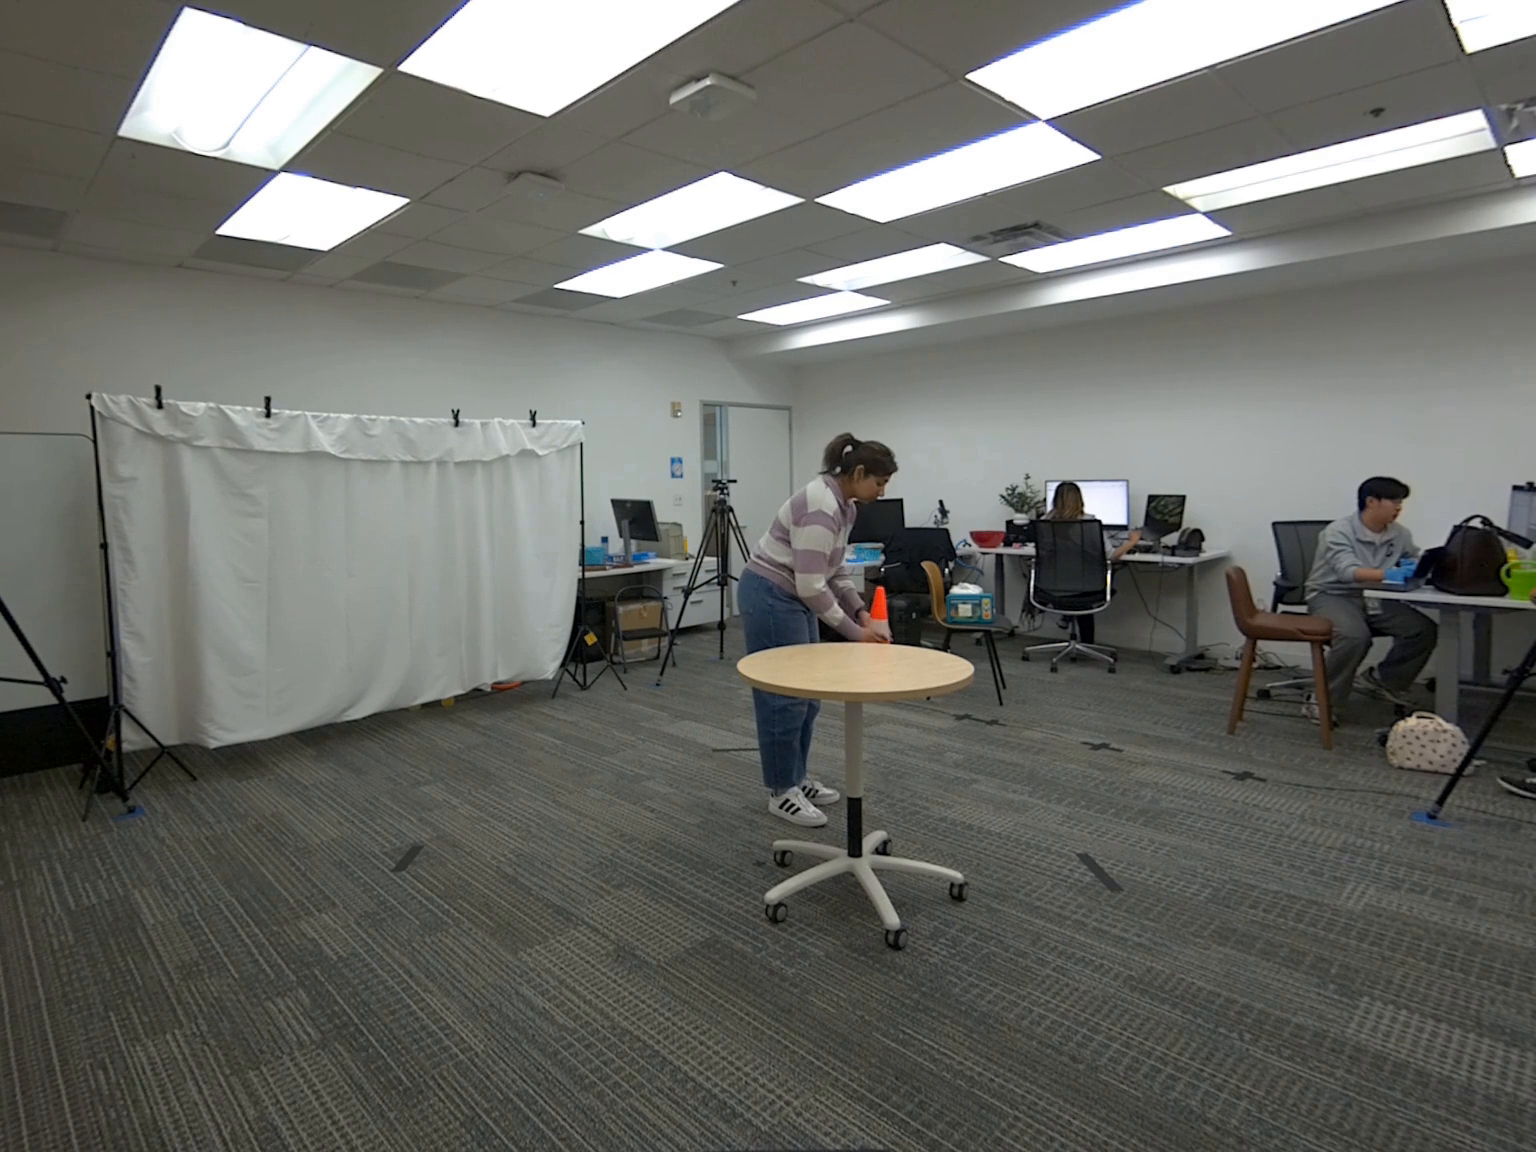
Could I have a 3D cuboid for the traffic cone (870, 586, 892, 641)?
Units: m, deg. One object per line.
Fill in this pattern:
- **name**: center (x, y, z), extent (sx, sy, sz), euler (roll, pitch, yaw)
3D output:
- **traffic cone**: center (0.435, 0.233, 3.452), extent (0.200, 0.383, 0.208), euler (0, 3, -27)
